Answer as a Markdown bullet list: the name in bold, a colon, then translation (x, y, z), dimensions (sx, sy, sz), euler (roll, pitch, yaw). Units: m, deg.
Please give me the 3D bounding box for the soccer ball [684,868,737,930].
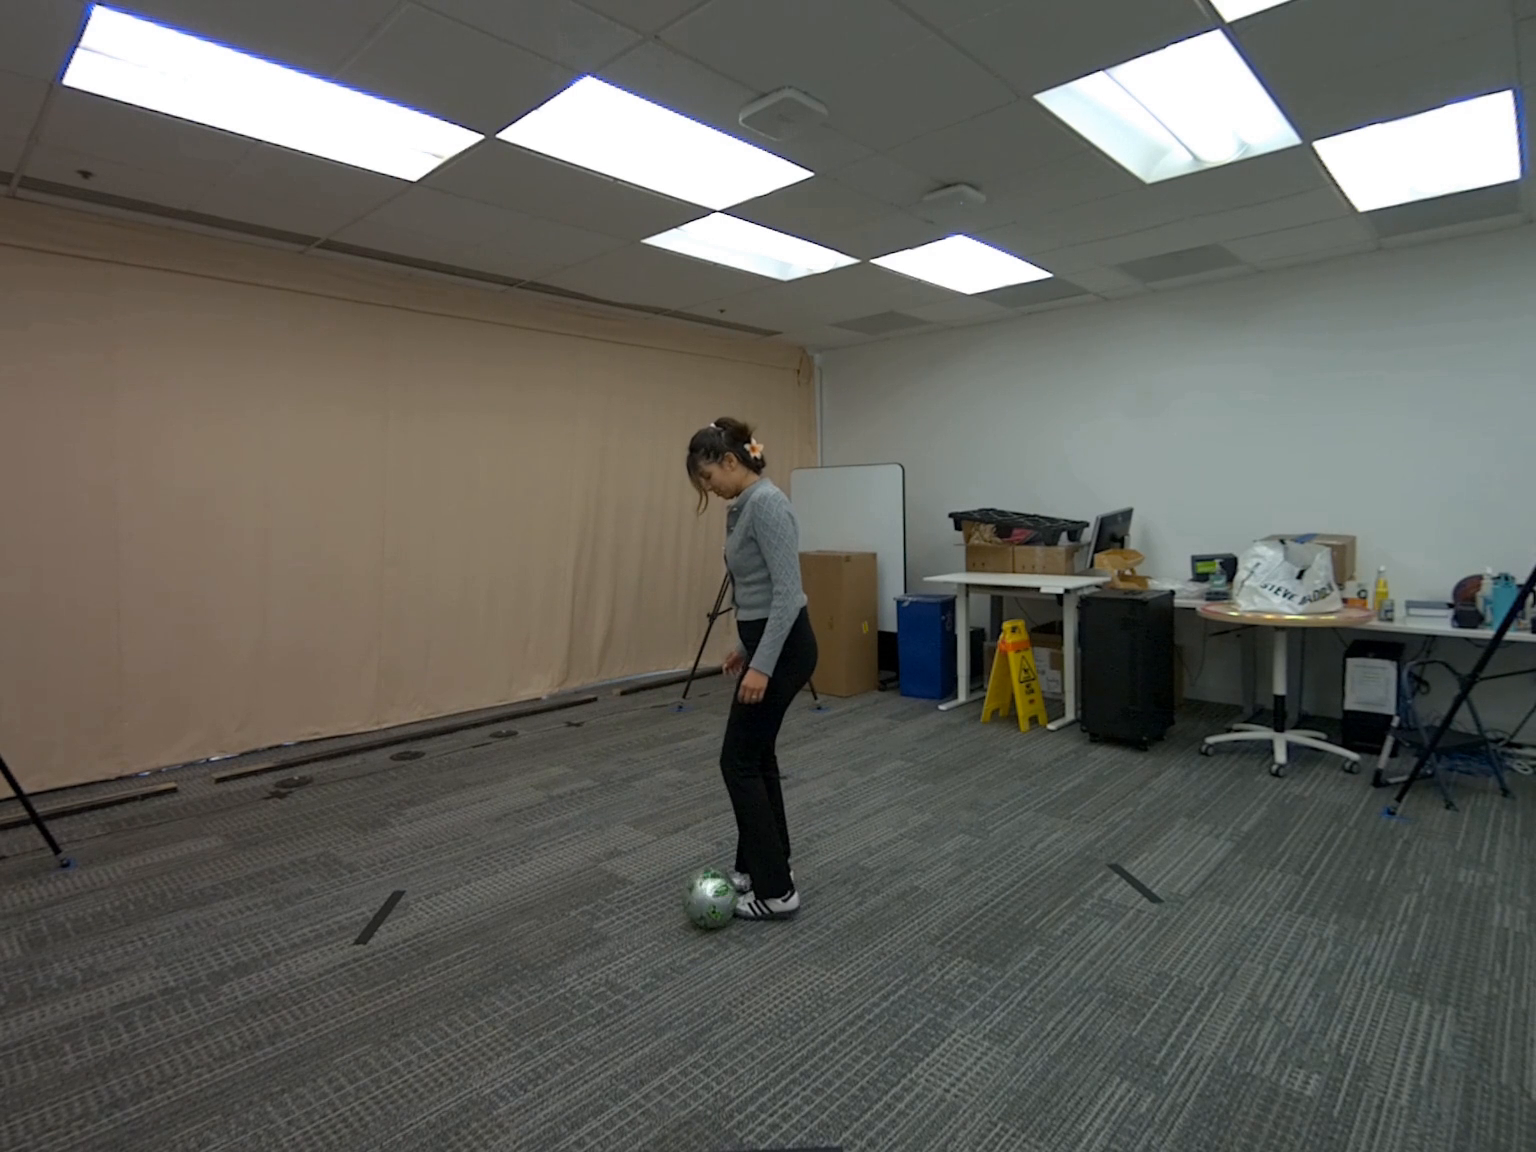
- **soccer ball**: translation (-0.189, 1.067, 2.793), dimensions (0.187, 0.187, 0.188), euler (-1, 4, -2)
